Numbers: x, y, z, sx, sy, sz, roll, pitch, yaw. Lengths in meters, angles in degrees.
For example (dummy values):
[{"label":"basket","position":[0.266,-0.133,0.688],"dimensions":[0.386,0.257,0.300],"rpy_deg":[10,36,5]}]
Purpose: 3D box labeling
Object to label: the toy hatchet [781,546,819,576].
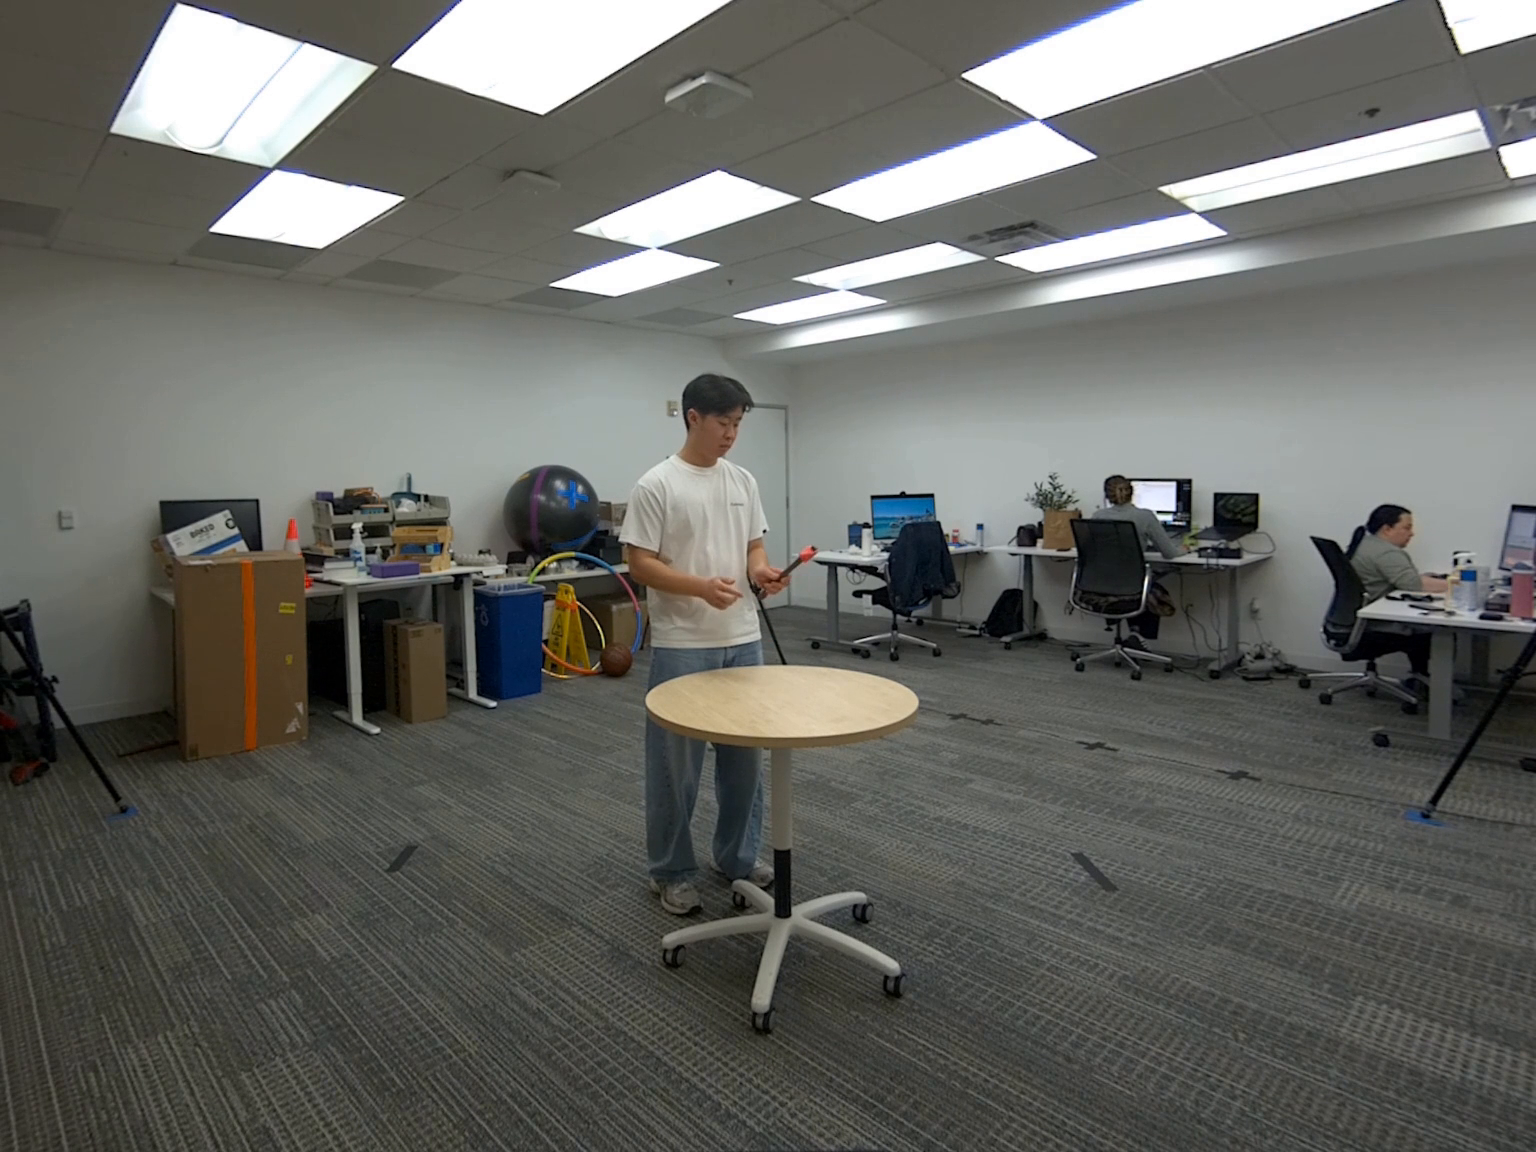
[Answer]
[{"label":"toy hatchet","position":[0.063,-0.009,2.685],"dimensions":[0.129,0.030,0.270],"rpy_deg":[-28,-12,-45]}]
